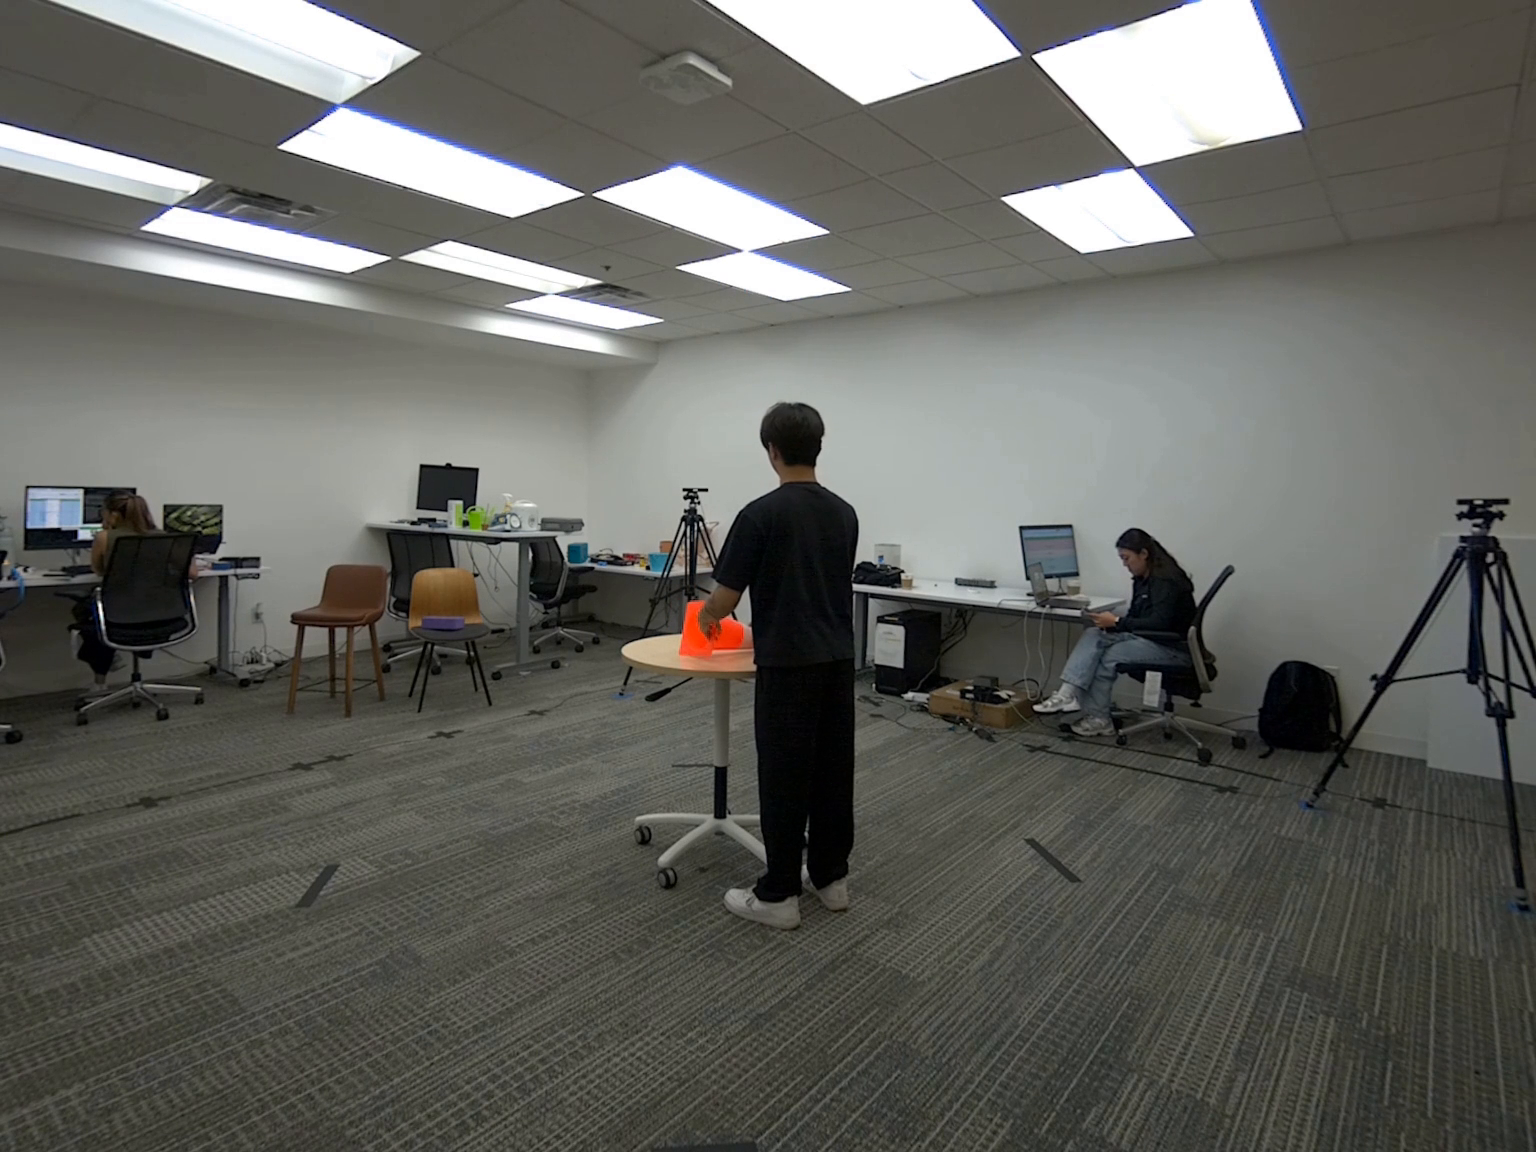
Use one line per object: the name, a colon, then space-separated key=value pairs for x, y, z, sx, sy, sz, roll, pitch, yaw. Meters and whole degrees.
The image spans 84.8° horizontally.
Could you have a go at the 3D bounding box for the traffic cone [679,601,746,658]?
traffic cone: x=-0.116 y=0.224 z=3.175 sx=0.370 sy=0.207 sz=0.209 roll=14 pitch=-13 yaw=-38
